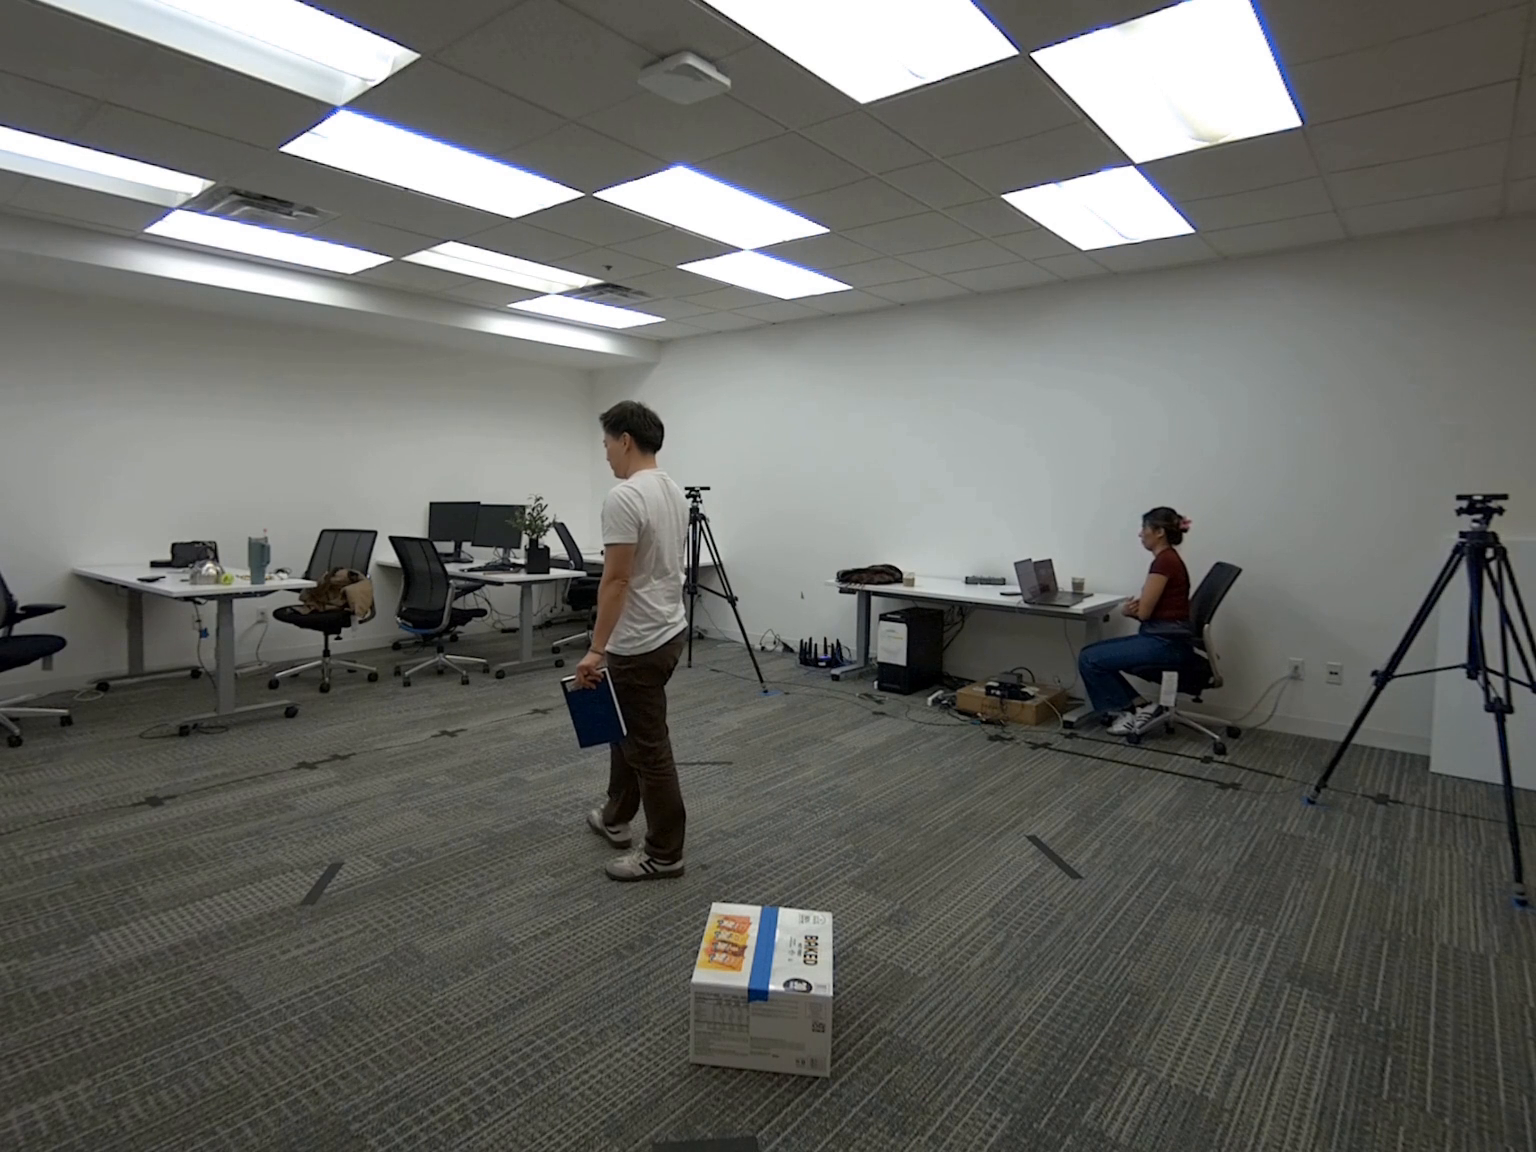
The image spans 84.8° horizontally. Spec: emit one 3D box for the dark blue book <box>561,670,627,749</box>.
[{"bbox_3d":[-0.596,0.438,2.857,0.164,0.243,0.045,-14,6,3],"label":"dark blue book"}]
